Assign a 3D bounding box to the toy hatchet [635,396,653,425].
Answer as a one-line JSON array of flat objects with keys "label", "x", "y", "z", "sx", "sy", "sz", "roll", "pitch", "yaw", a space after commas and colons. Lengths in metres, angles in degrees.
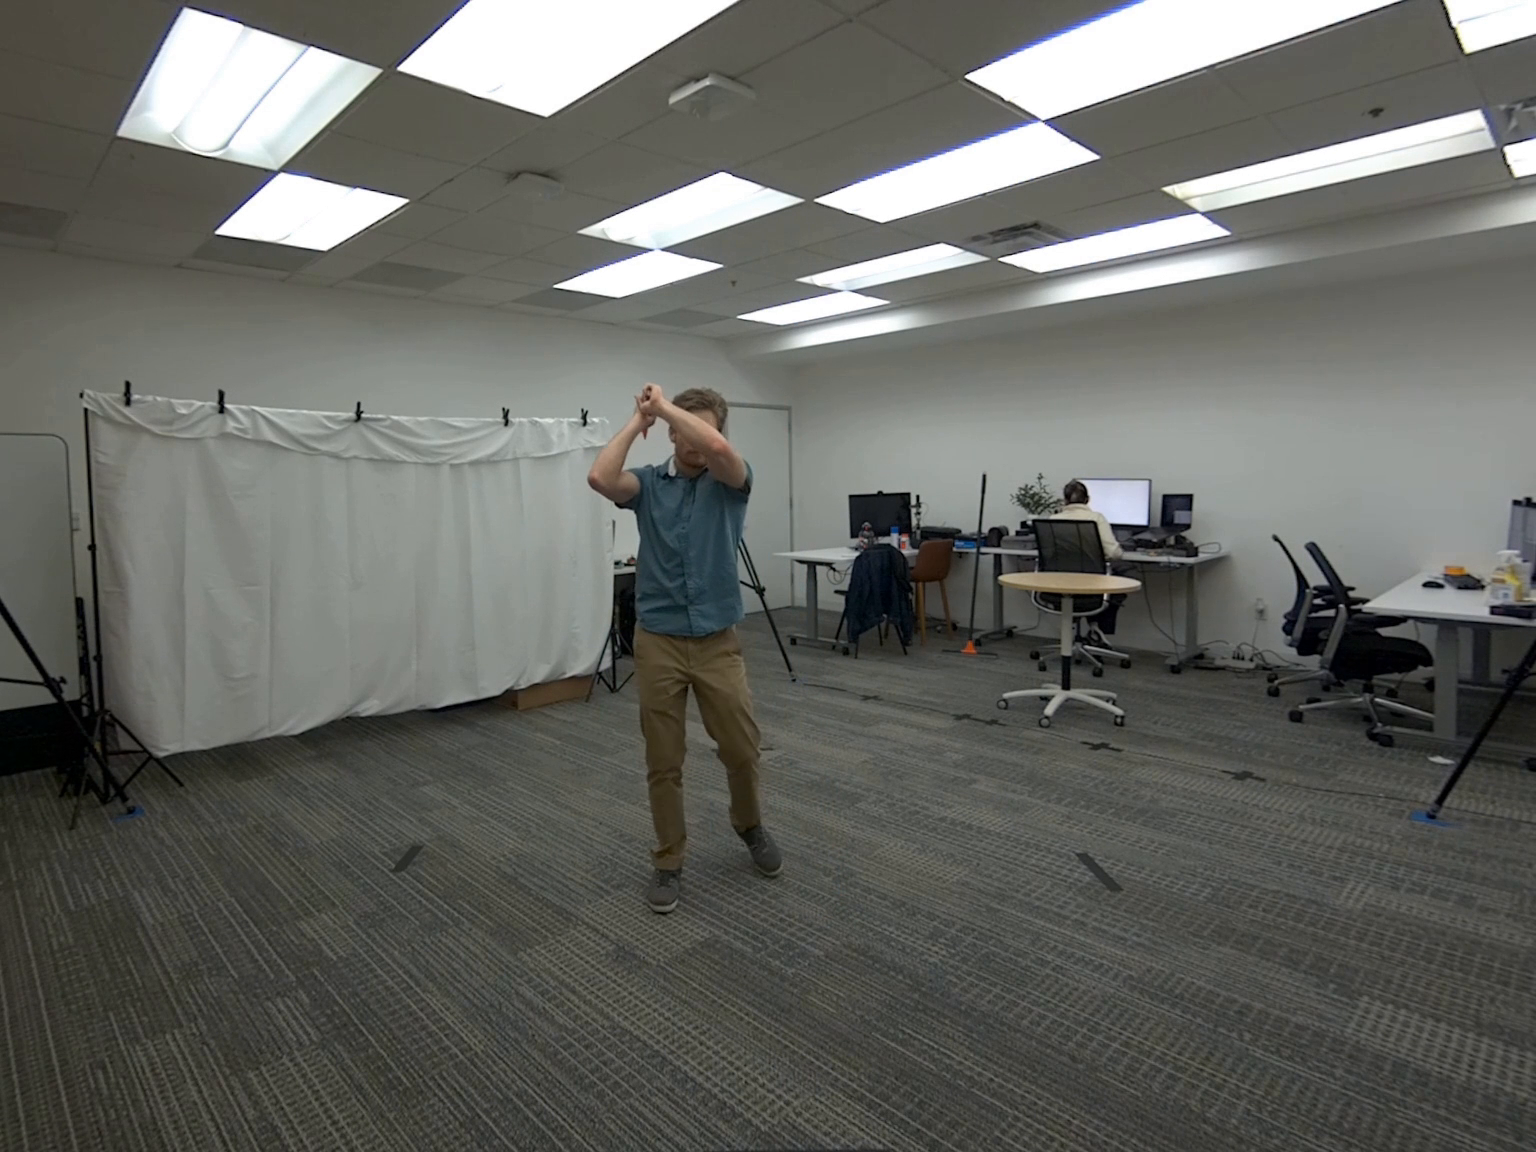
[{"label": "toy hatchet", "x": -0.392, "y": -0.573, "z": 2.880, "sx": 0.029, "sy": 0.133, "sz": 0.269, "roll": -1, "pitch": -16, "yaw": -15}]
